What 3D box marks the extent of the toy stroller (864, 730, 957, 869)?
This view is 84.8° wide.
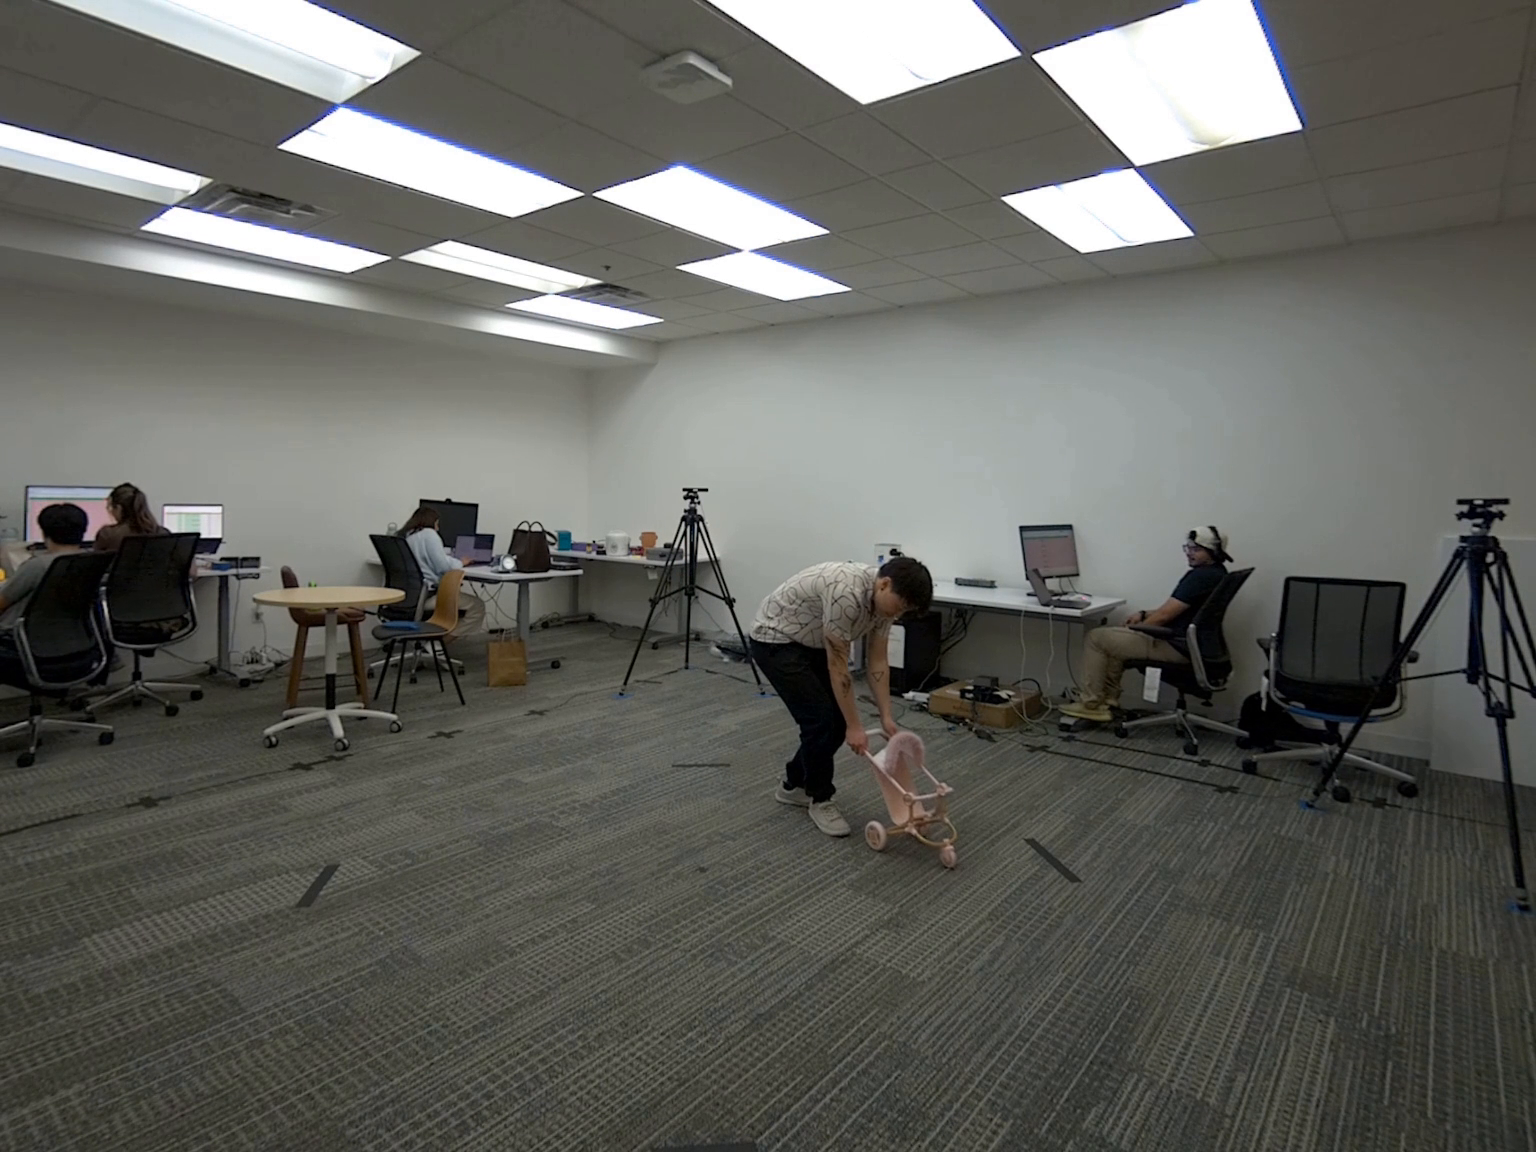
[{"bbox_3d":[0.543,0.841,3.331,0.274,0.543,0.346,-2,-14,-33],"label":"toy stroller"}]
